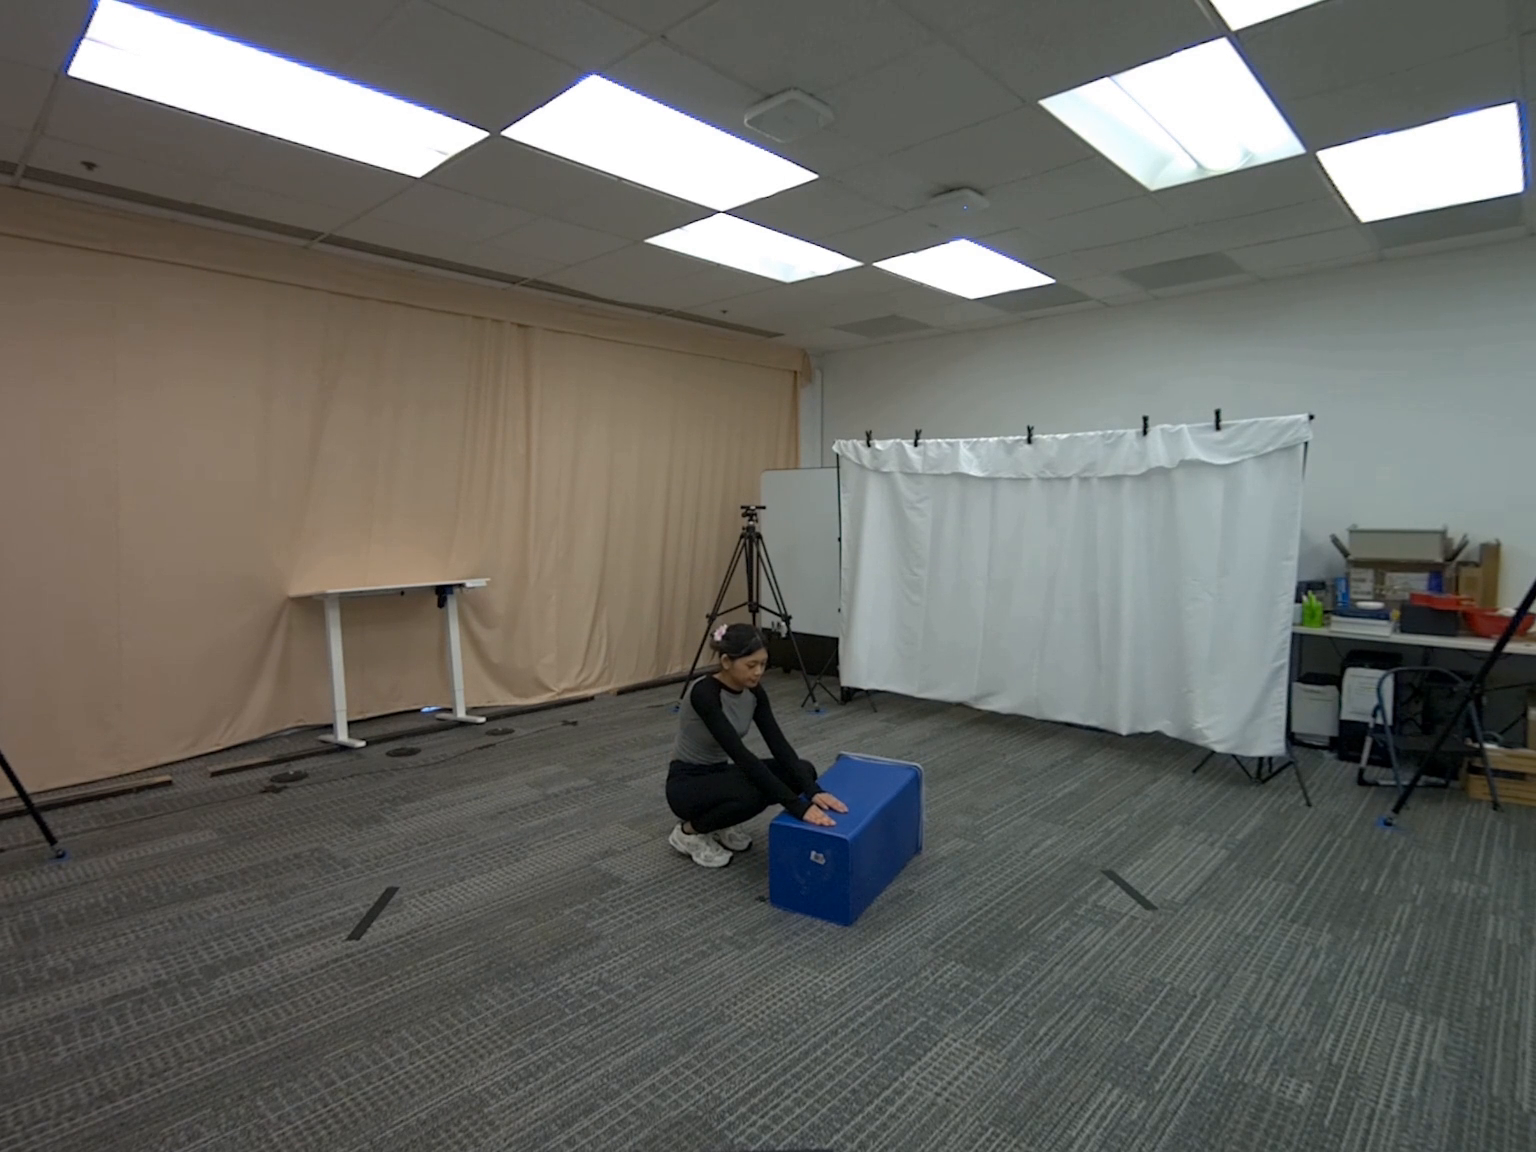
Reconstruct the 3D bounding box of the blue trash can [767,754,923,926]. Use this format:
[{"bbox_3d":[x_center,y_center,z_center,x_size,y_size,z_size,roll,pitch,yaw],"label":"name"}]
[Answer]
[{"bbox_3d":[0.298,0.961,3.145,0.385,0.376,0.696,3,8,28],"label":"blue trash can"}]
